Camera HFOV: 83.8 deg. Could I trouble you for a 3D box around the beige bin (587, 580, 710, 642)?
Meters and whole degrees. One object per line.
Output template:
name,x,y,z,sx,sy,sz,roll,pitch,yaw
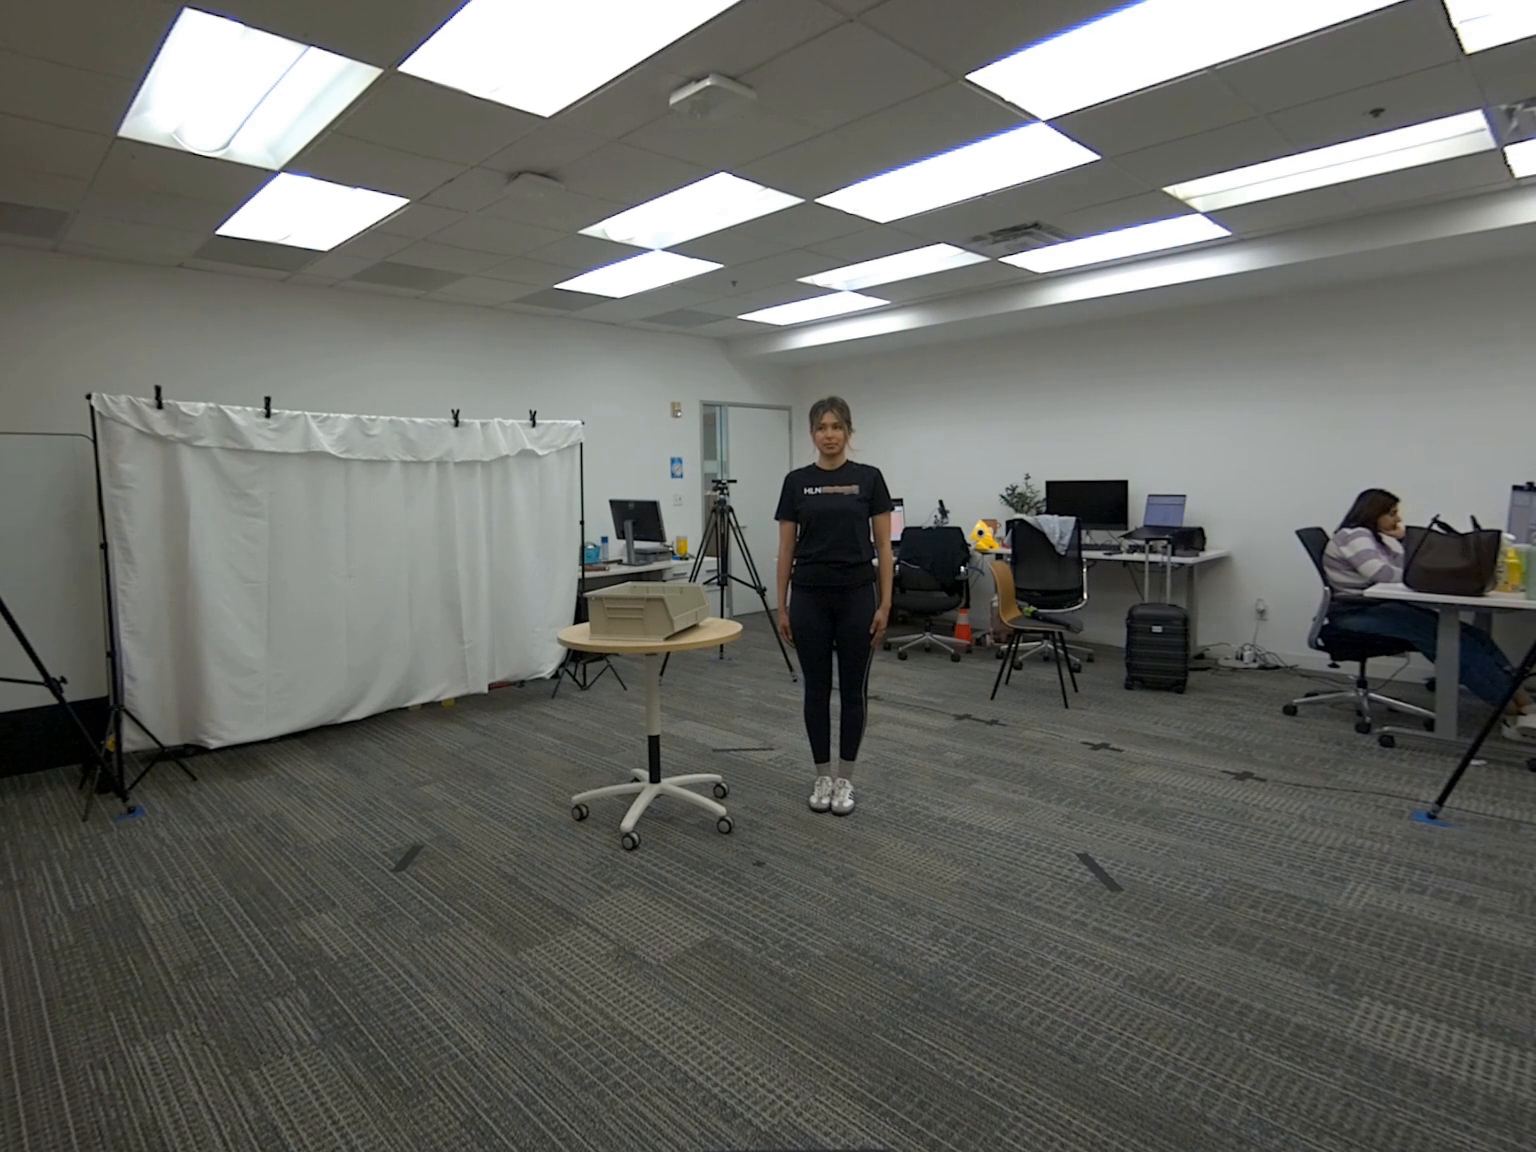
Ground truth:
beige bin,-0.477,0.140,3.478,0.384,0.188,0.417,-1,6,17
